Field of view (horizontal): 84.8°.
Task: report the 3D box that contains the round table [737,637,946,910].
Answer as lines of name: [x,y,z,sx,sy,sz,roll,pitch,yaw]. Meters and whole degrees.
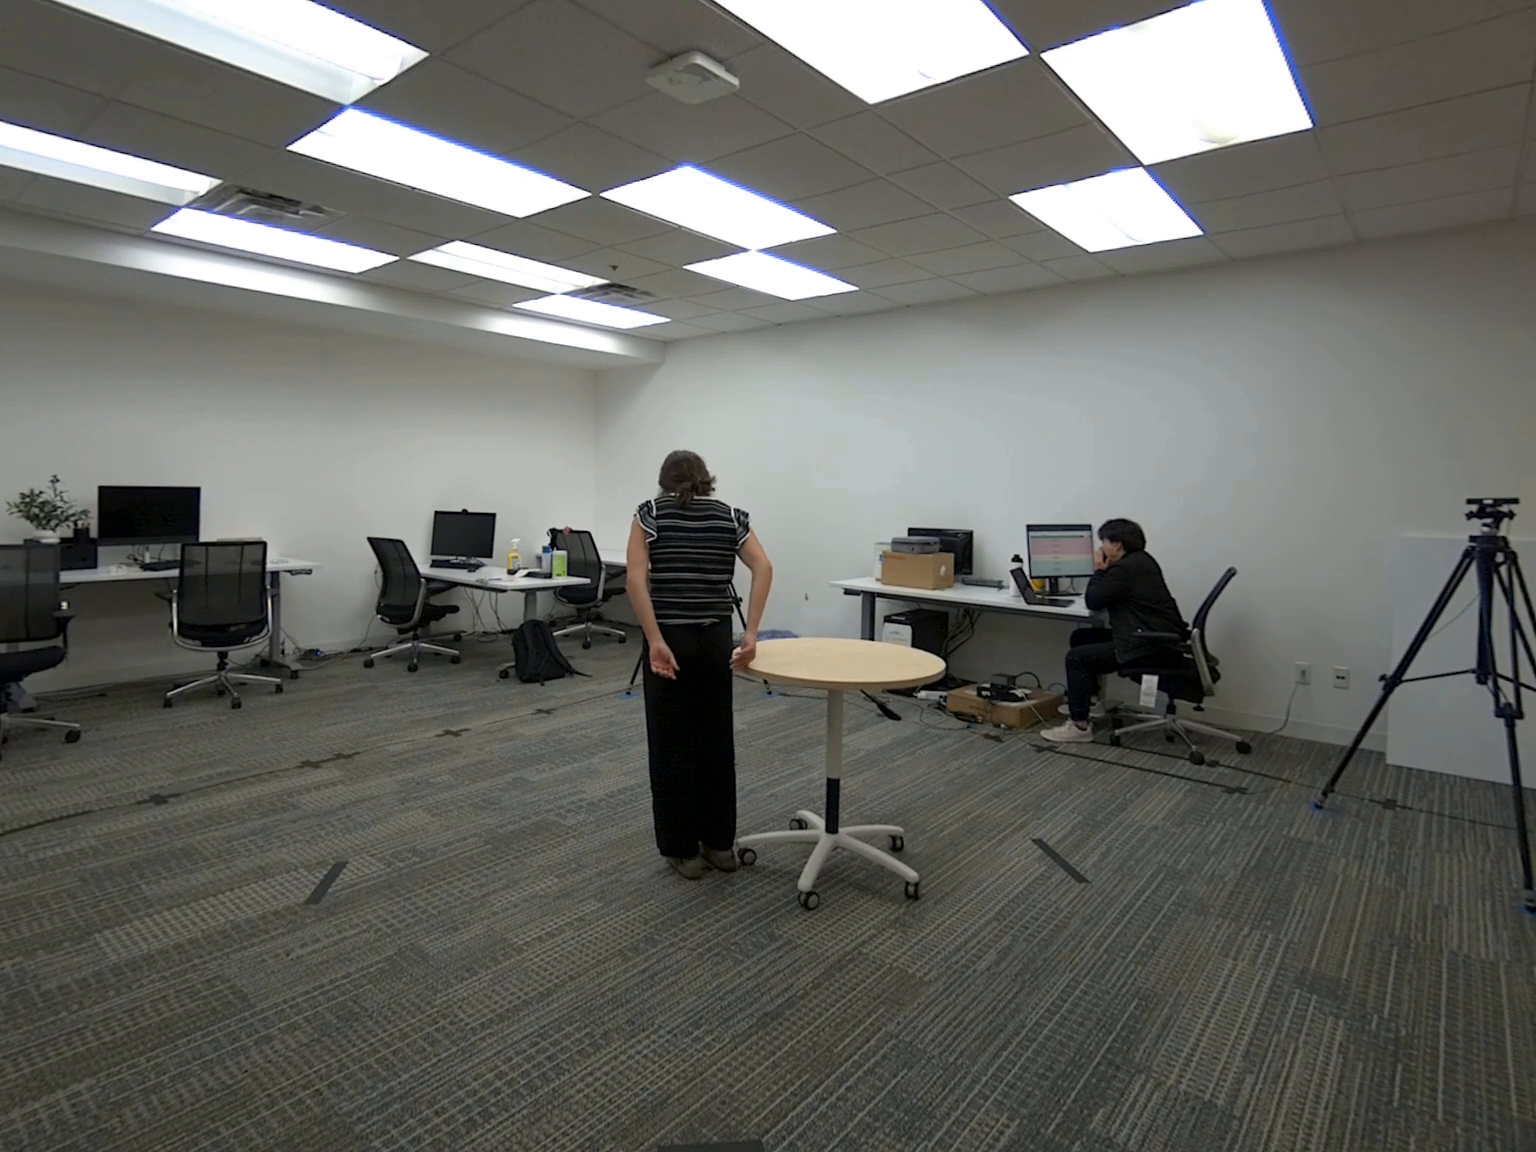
round table: [0.224,0.683,3.113,0.784,0.784,0.789,1,5,-2]
